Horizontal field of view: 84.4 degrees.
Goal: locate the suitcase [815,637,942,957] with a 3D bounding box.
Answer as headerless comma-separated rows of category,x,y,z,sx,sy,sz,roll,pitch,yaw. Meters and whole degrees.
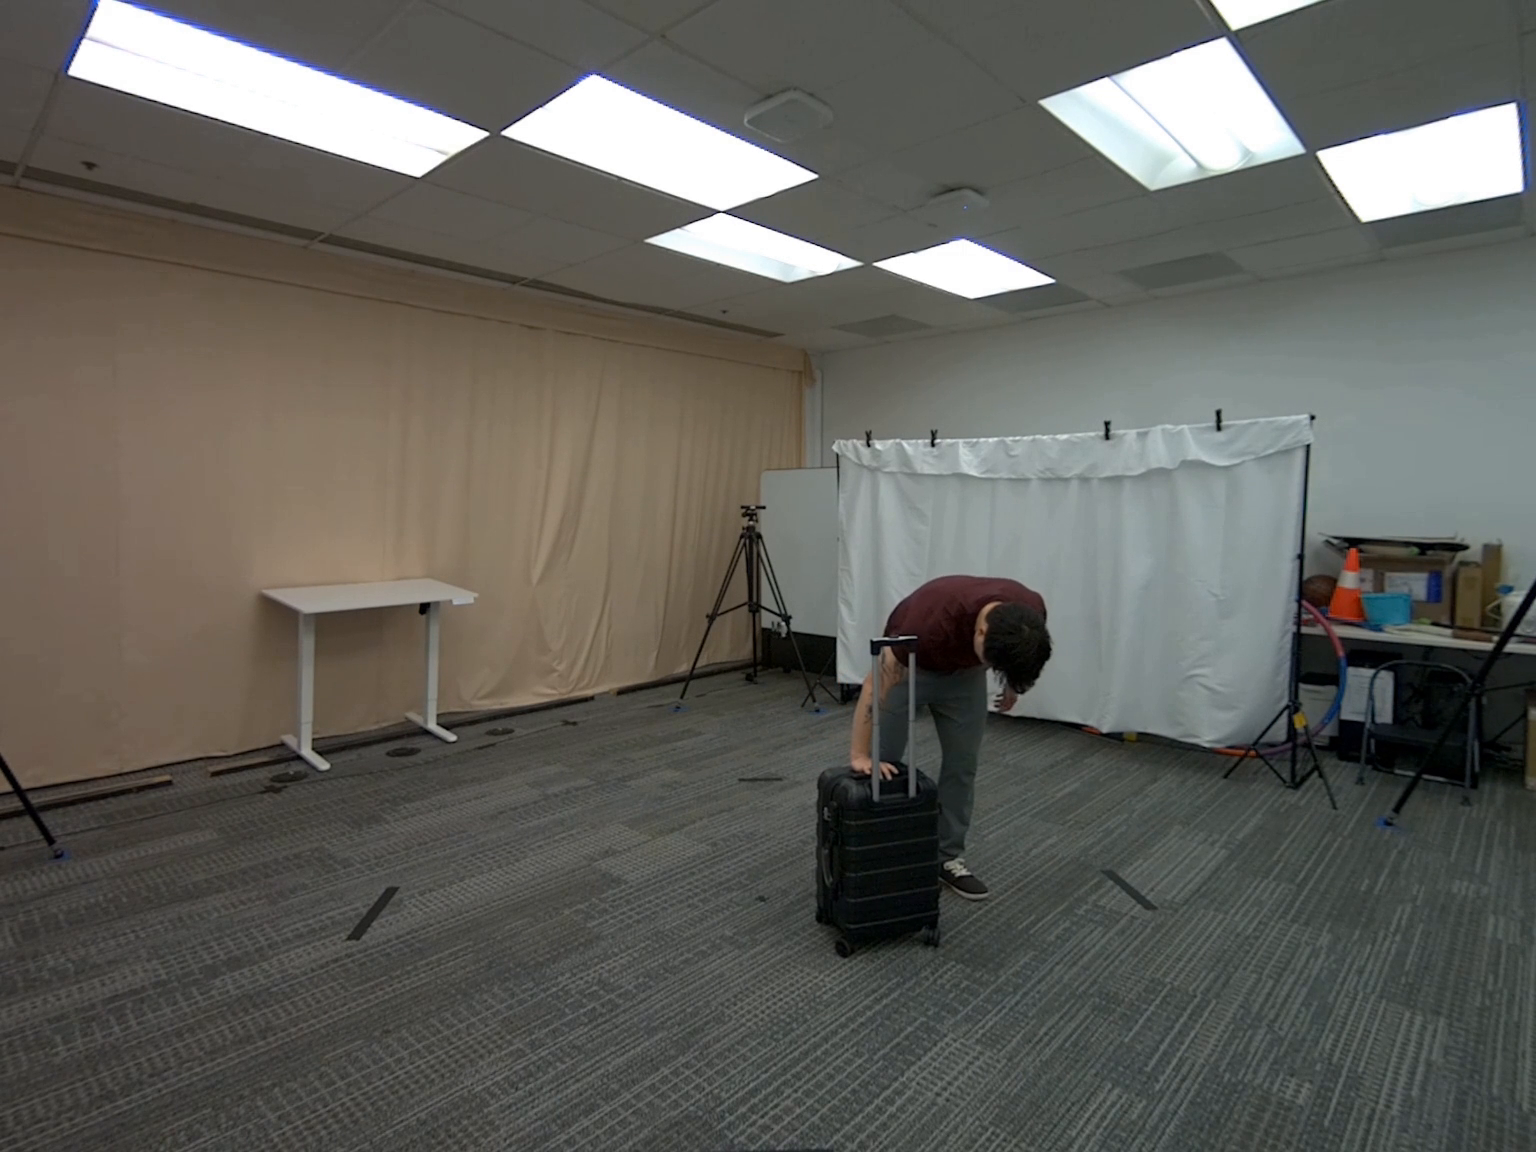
suitcase,0.350,0.693,2.718,0.378,0.977,0.262,-1,2,-17
